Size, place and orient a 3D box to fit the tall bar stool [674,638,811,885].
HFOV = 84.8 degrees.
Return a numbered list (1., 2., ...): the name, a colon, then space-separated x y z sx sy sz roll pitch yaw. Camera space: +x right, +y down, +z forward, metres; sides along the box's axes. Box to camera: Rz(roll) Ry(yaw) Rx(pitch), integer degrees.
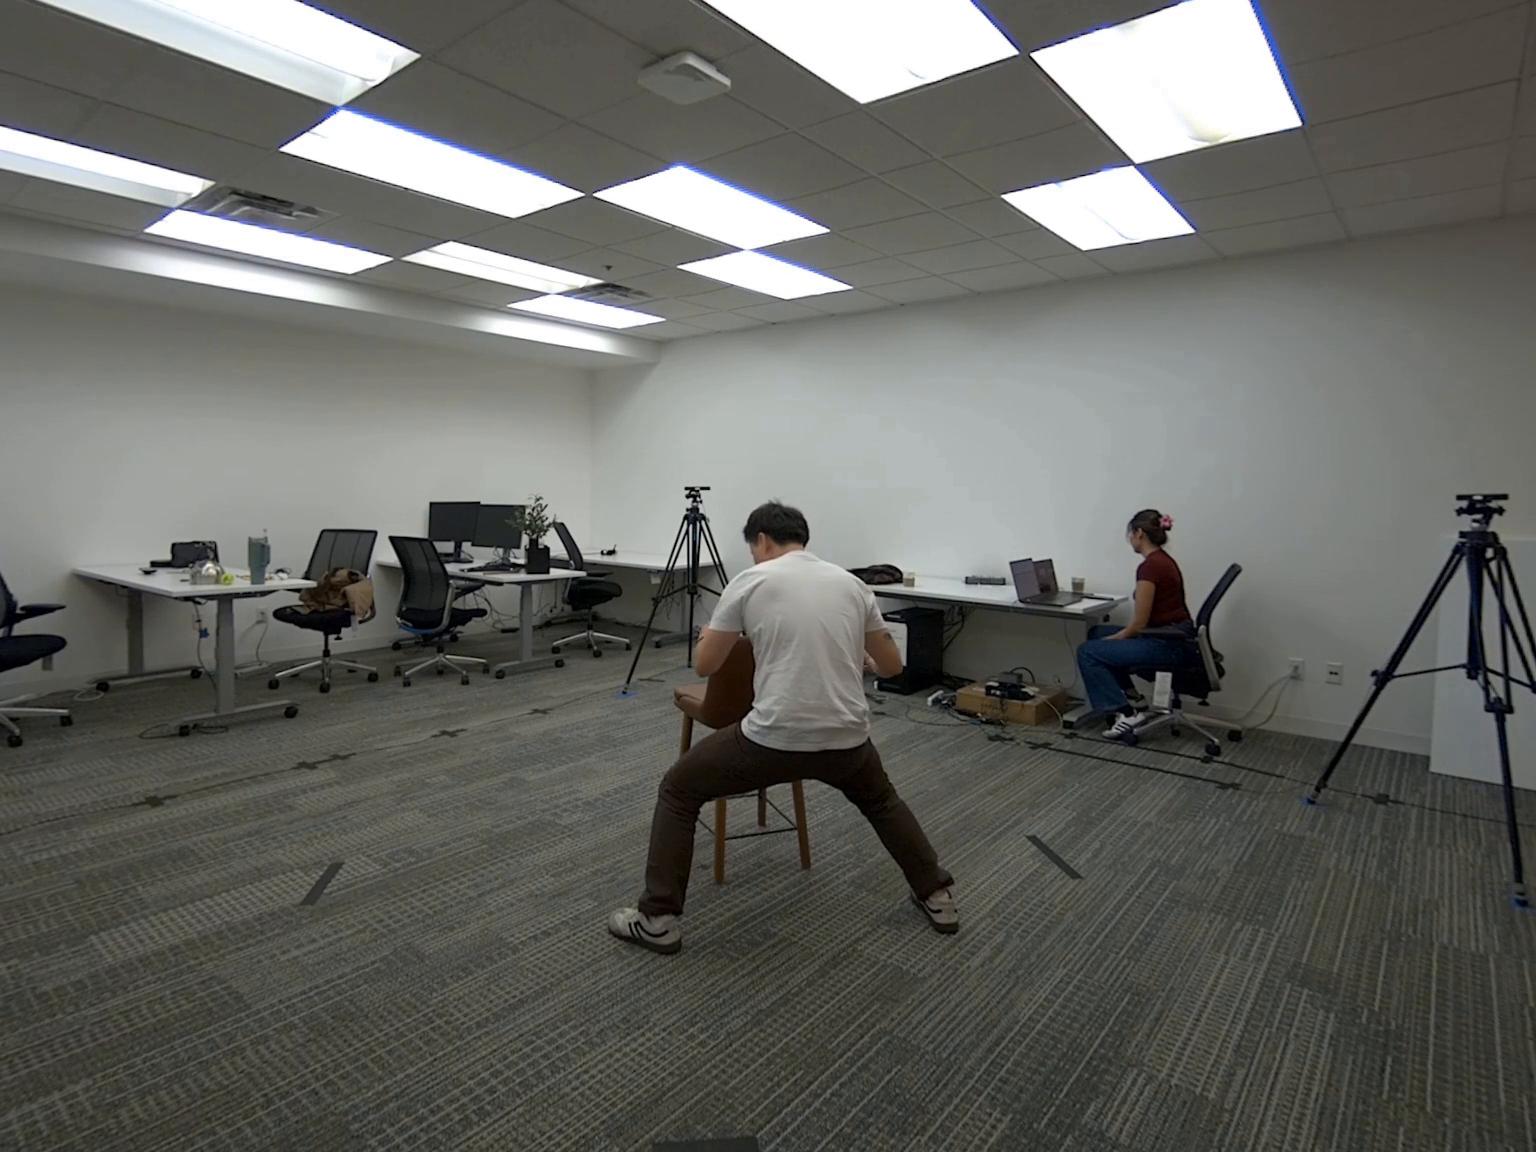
1. tall bar stool: -0.104 0.615 3.222 0.446 0.885 0.481 -1 6 -24
